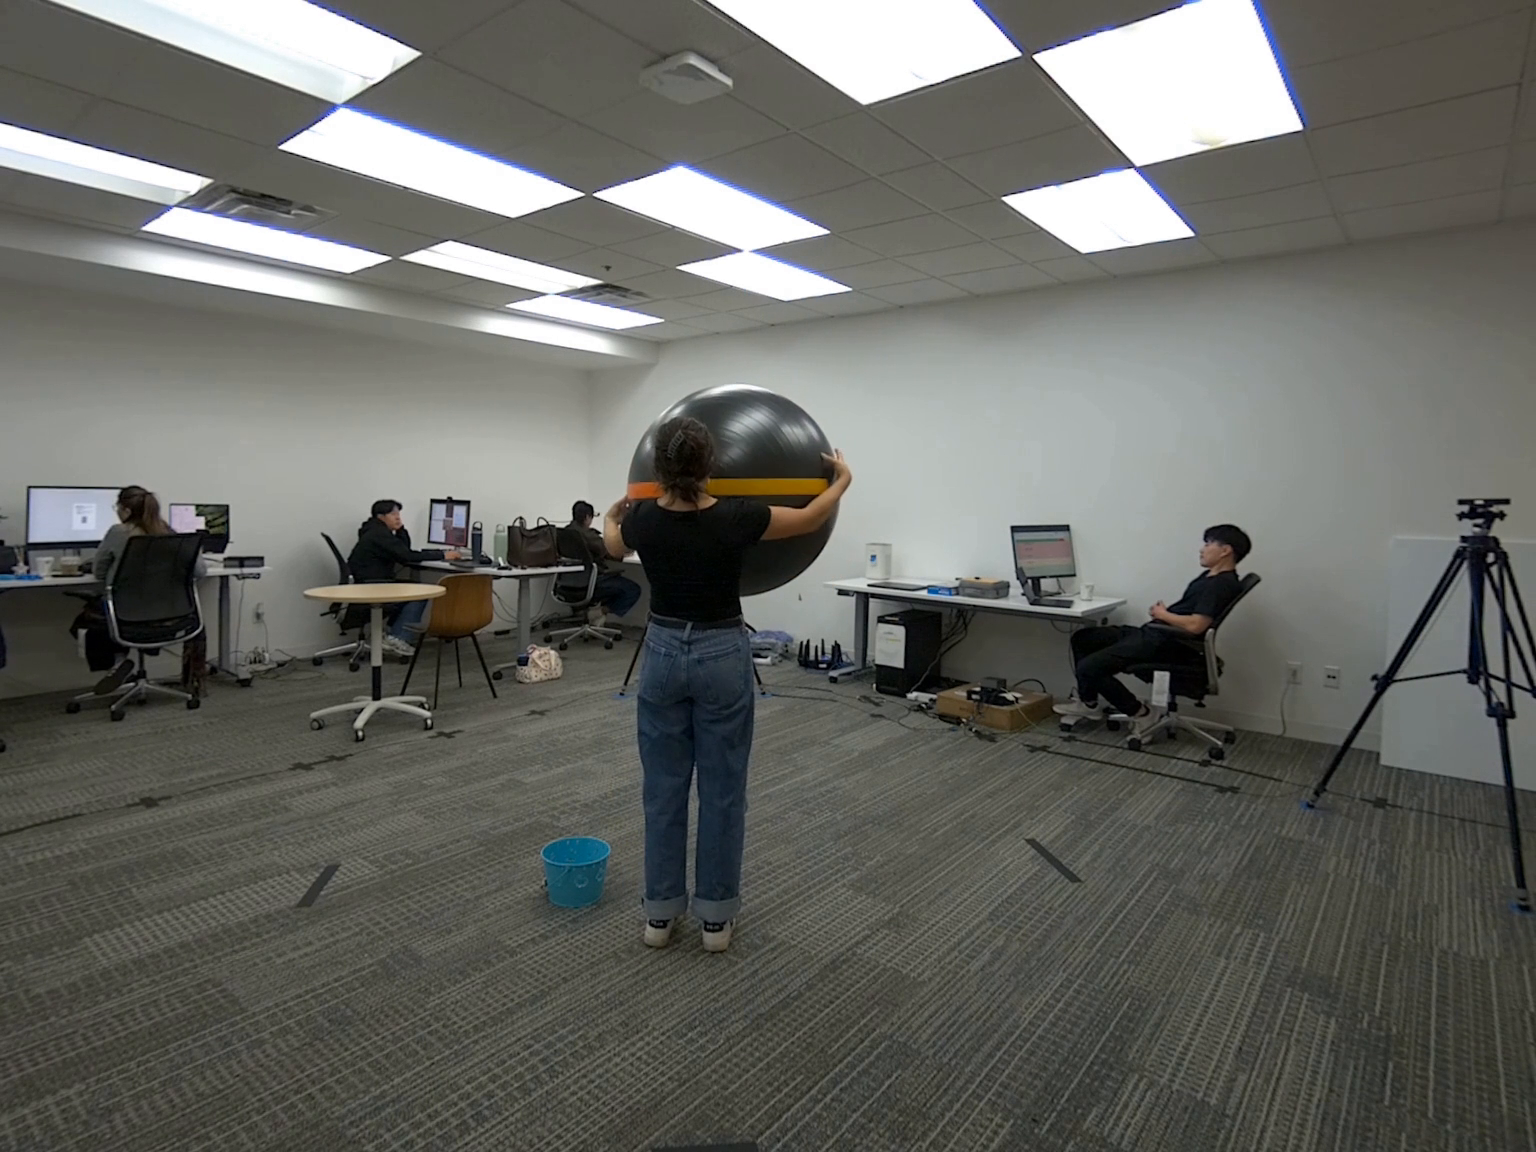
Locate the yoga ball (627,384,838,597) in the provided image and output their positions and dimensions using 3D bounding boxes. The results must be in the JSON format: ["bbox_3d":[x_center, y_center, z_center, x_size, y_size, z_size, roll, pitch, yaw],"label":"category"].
[{"bbox_3d":[-0.130,-0.301,3.053,0.757,0.755,0.762,1,4,-2],"label":"yoga ball"}]
